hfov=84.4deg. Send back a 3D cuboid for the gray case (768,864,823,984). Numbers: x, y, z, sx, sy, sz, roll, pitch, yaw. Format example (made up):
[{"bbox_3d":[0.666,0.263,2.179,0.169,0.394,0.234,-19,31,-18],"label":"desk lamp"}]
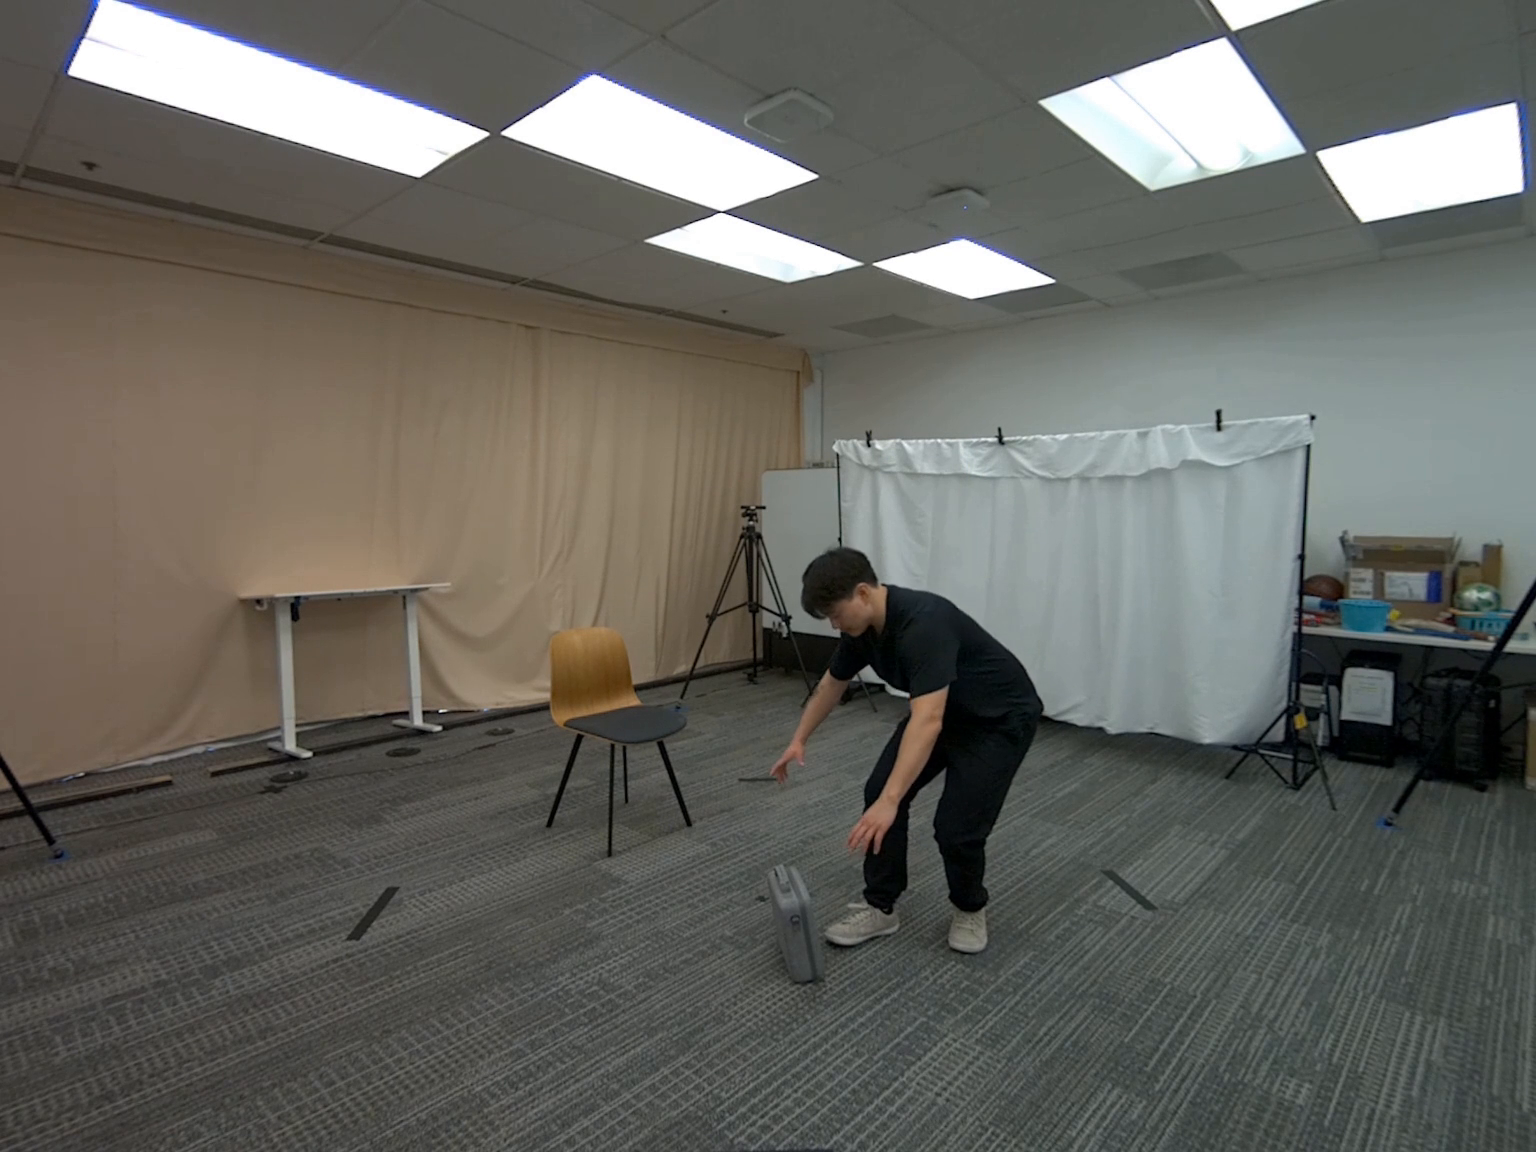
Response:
[{"bbox_3d":[0.086,1.050,2.552,0.103,0.260,0.259,-11,4,-8],"label":"gray case"}]
